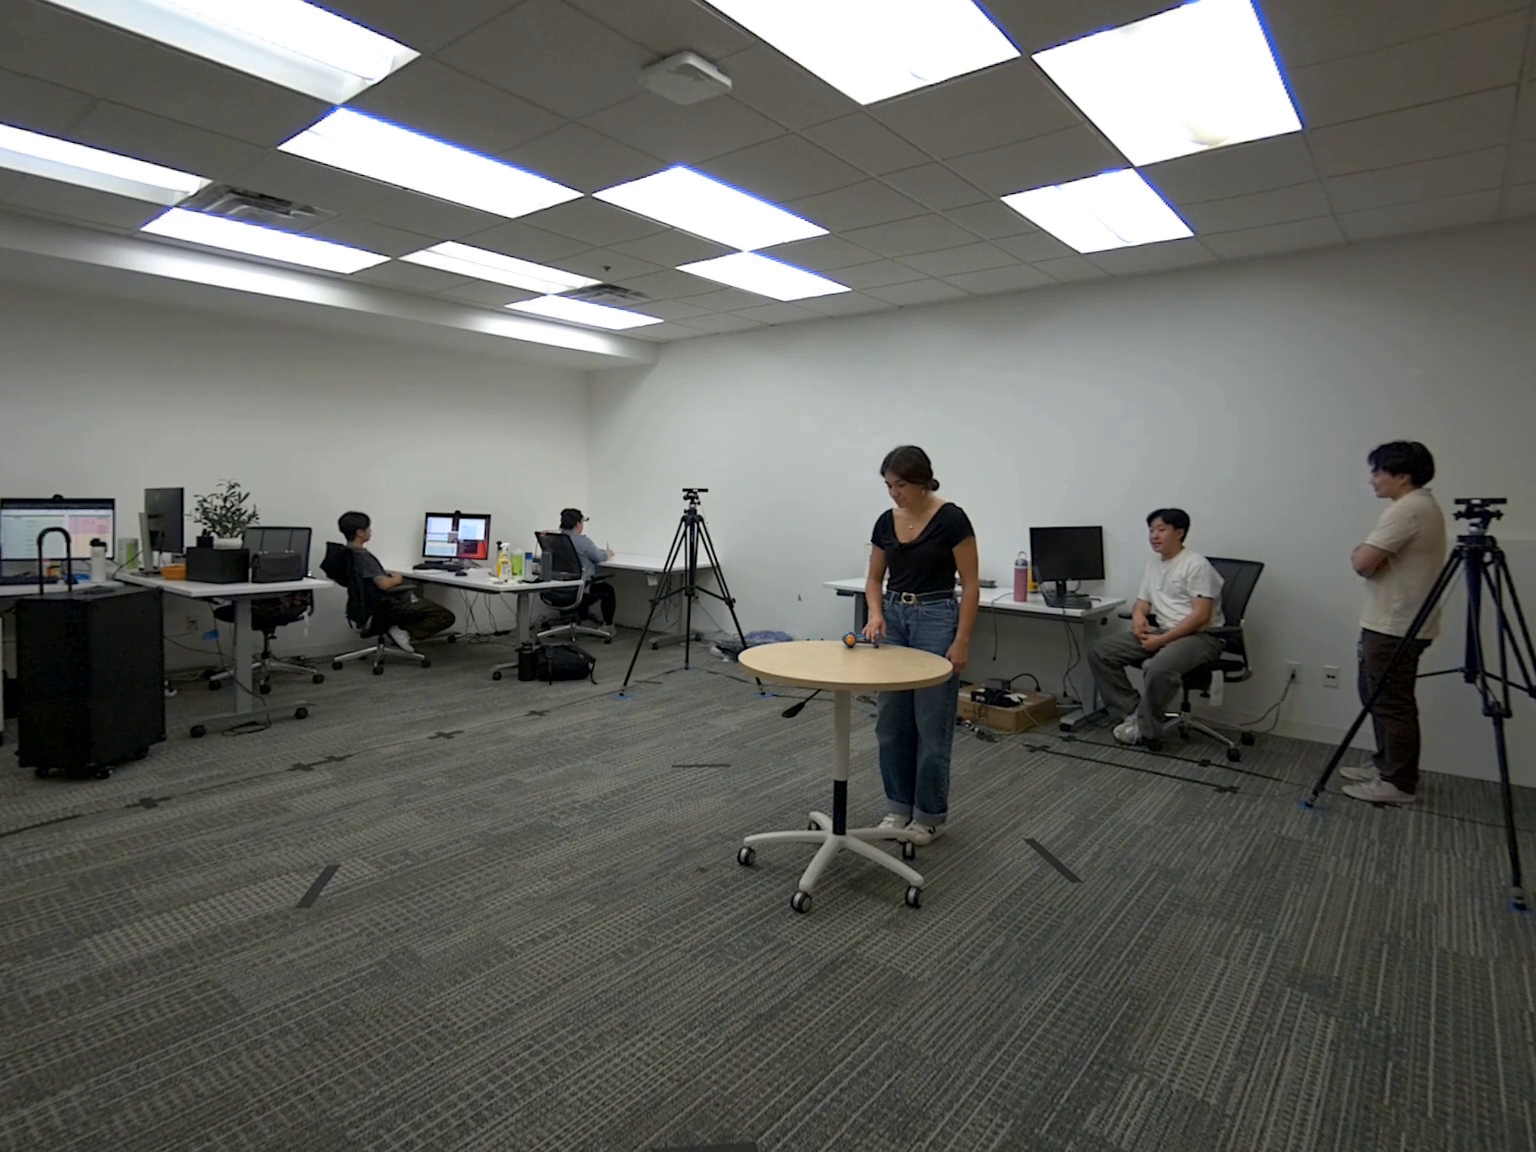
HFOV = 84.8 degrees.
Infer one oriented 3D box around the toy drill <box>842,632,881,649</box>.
[{"bbox_3d":[0.361,0.240,3.326,0.147,0.061,0.168,4,-2,6],"label":"toy drill"}]
